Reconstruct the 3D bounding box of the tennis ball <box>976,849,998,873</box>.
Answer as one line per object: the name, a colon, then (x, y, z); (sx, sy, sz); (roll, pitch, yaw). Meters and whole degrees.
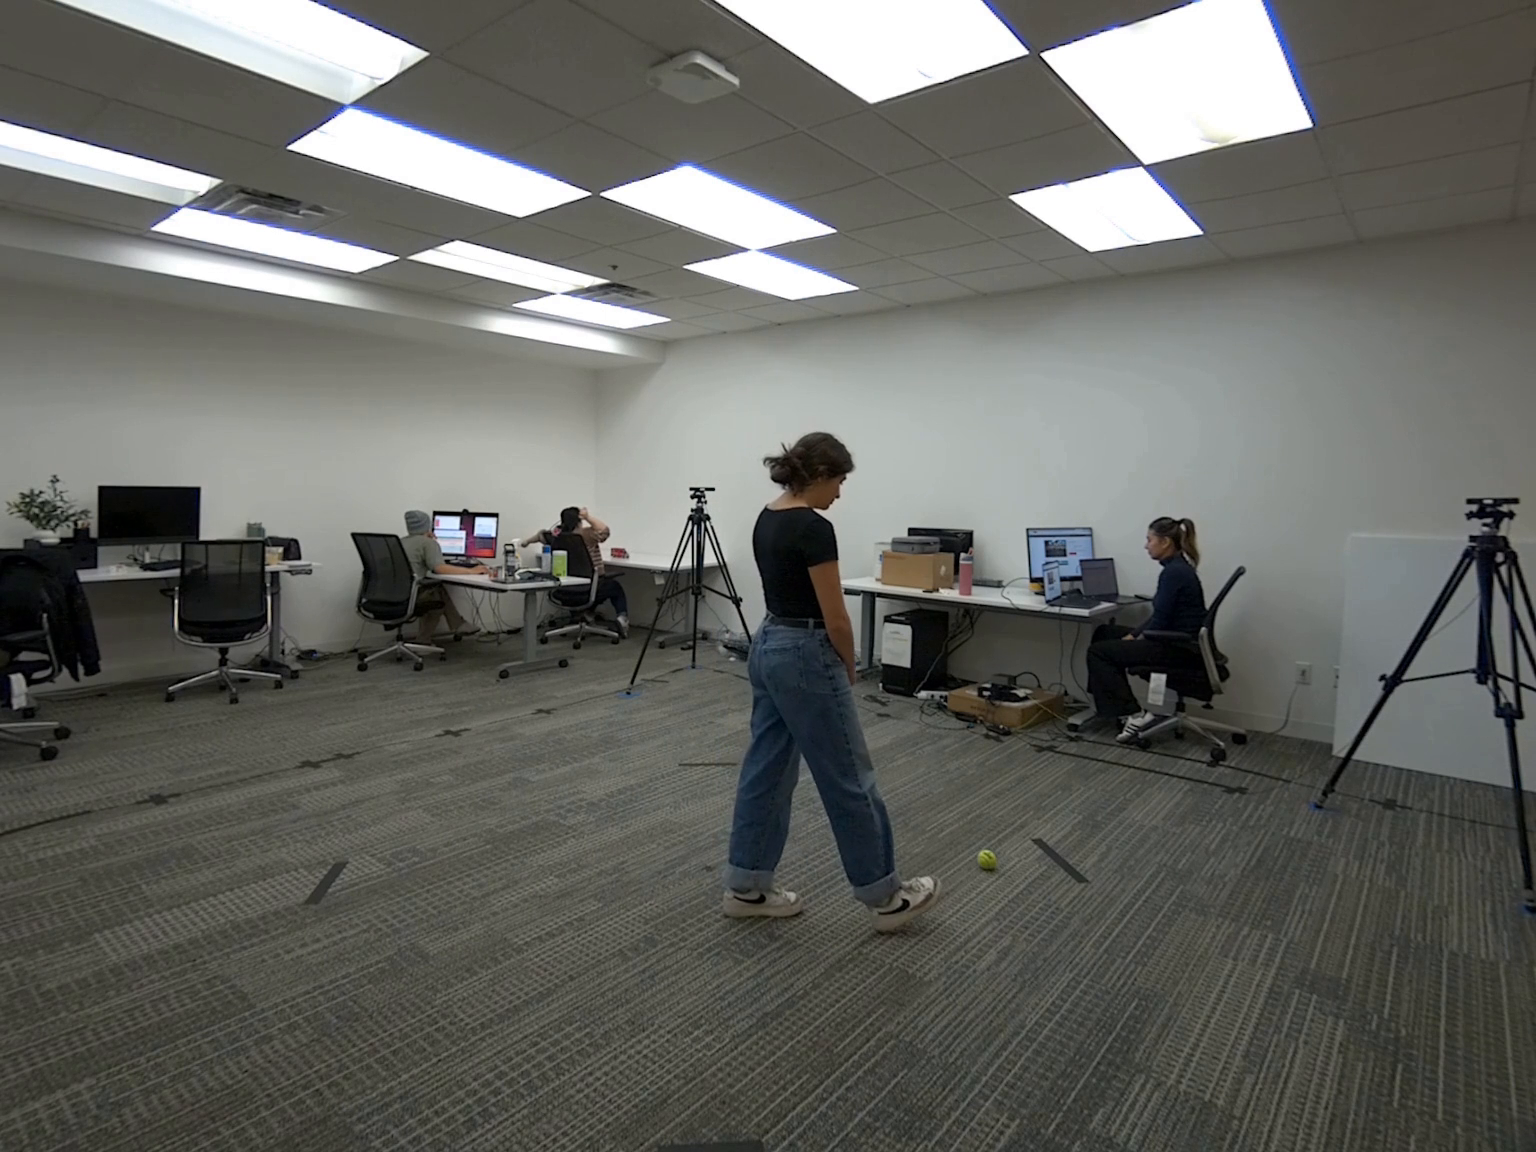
tennis ball: (0.805, 1.042, 3.160); (0.066, 0.066, 0.067); (1, 4, -2)
